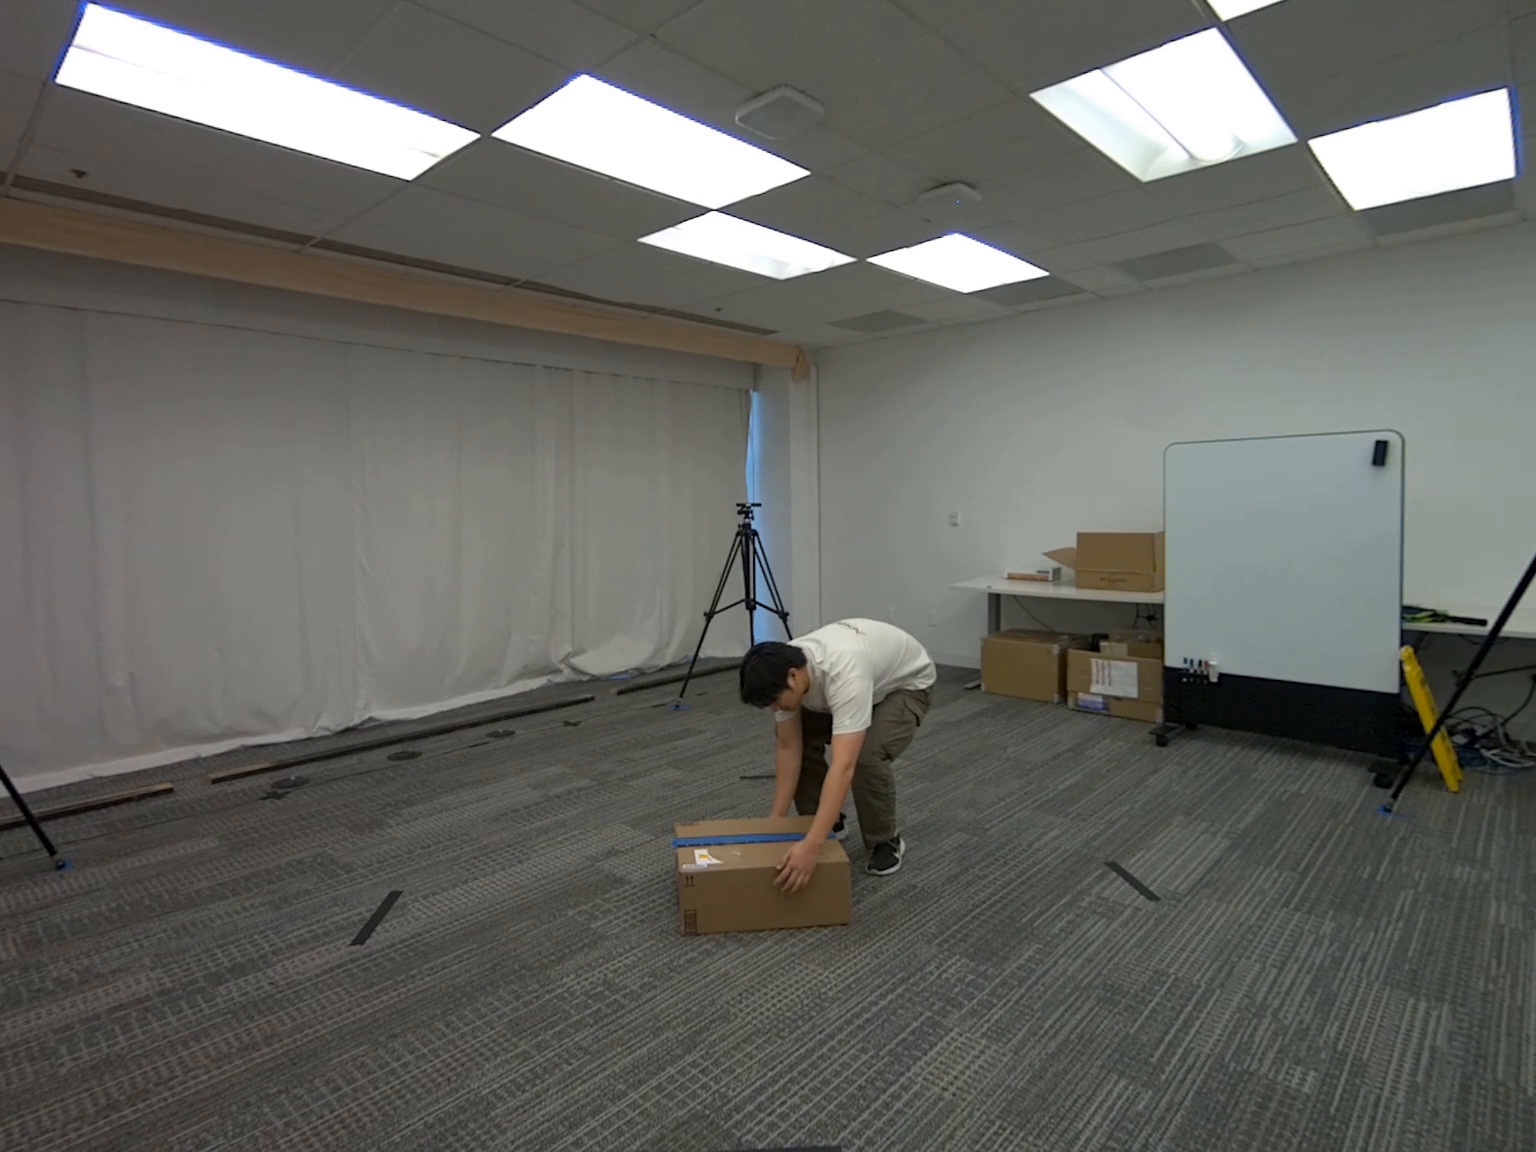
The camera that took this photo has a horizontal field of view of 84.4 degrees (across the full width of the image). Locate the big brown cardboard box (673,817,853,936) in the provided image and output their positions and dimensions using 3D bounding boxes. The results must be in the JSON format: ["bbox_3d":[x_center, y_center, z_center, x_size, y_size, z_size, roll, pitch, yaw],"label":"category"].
[{"bbox_3d":[-0.042,1.028,2.938,0.585,0.232,0.421,0,4,-7],"label":"big brown cardboard box"}]
